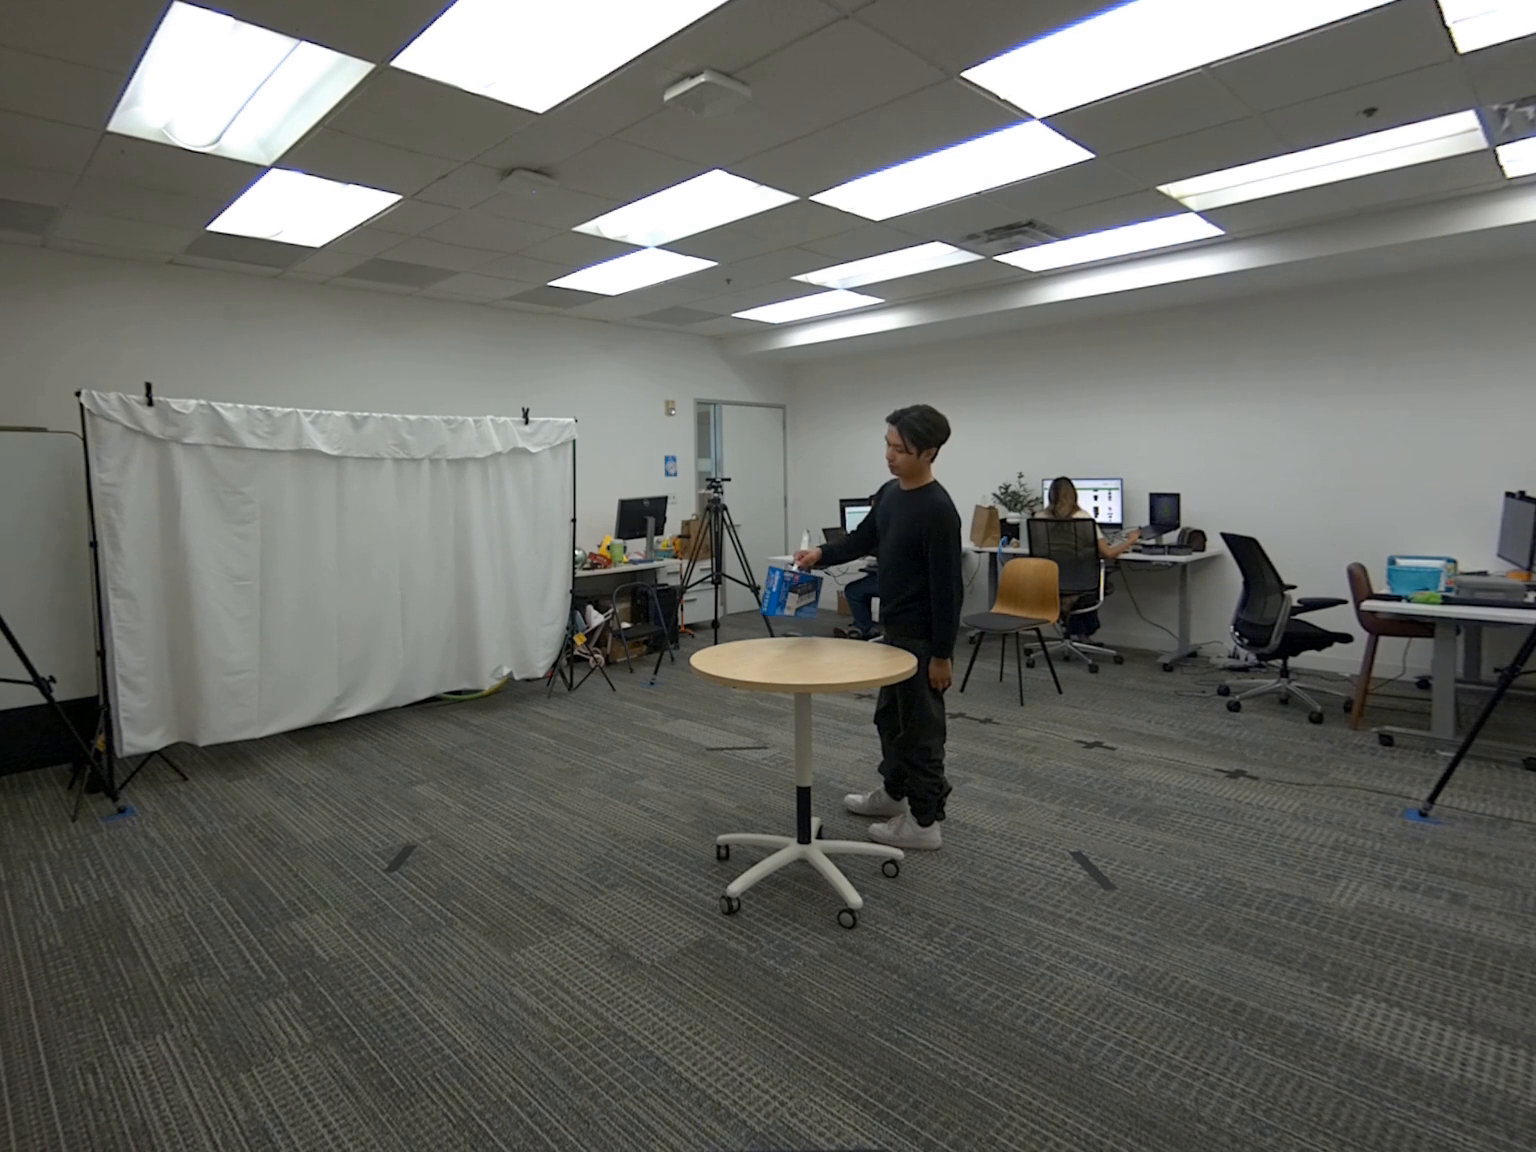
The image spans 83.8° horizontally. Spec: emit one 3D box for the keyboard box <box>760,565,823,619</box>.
[{"bbox_3d":[0.108,0.071,3.217,0.060,0.176,0.425,11,1,23],"label":"keyboard box"}]
